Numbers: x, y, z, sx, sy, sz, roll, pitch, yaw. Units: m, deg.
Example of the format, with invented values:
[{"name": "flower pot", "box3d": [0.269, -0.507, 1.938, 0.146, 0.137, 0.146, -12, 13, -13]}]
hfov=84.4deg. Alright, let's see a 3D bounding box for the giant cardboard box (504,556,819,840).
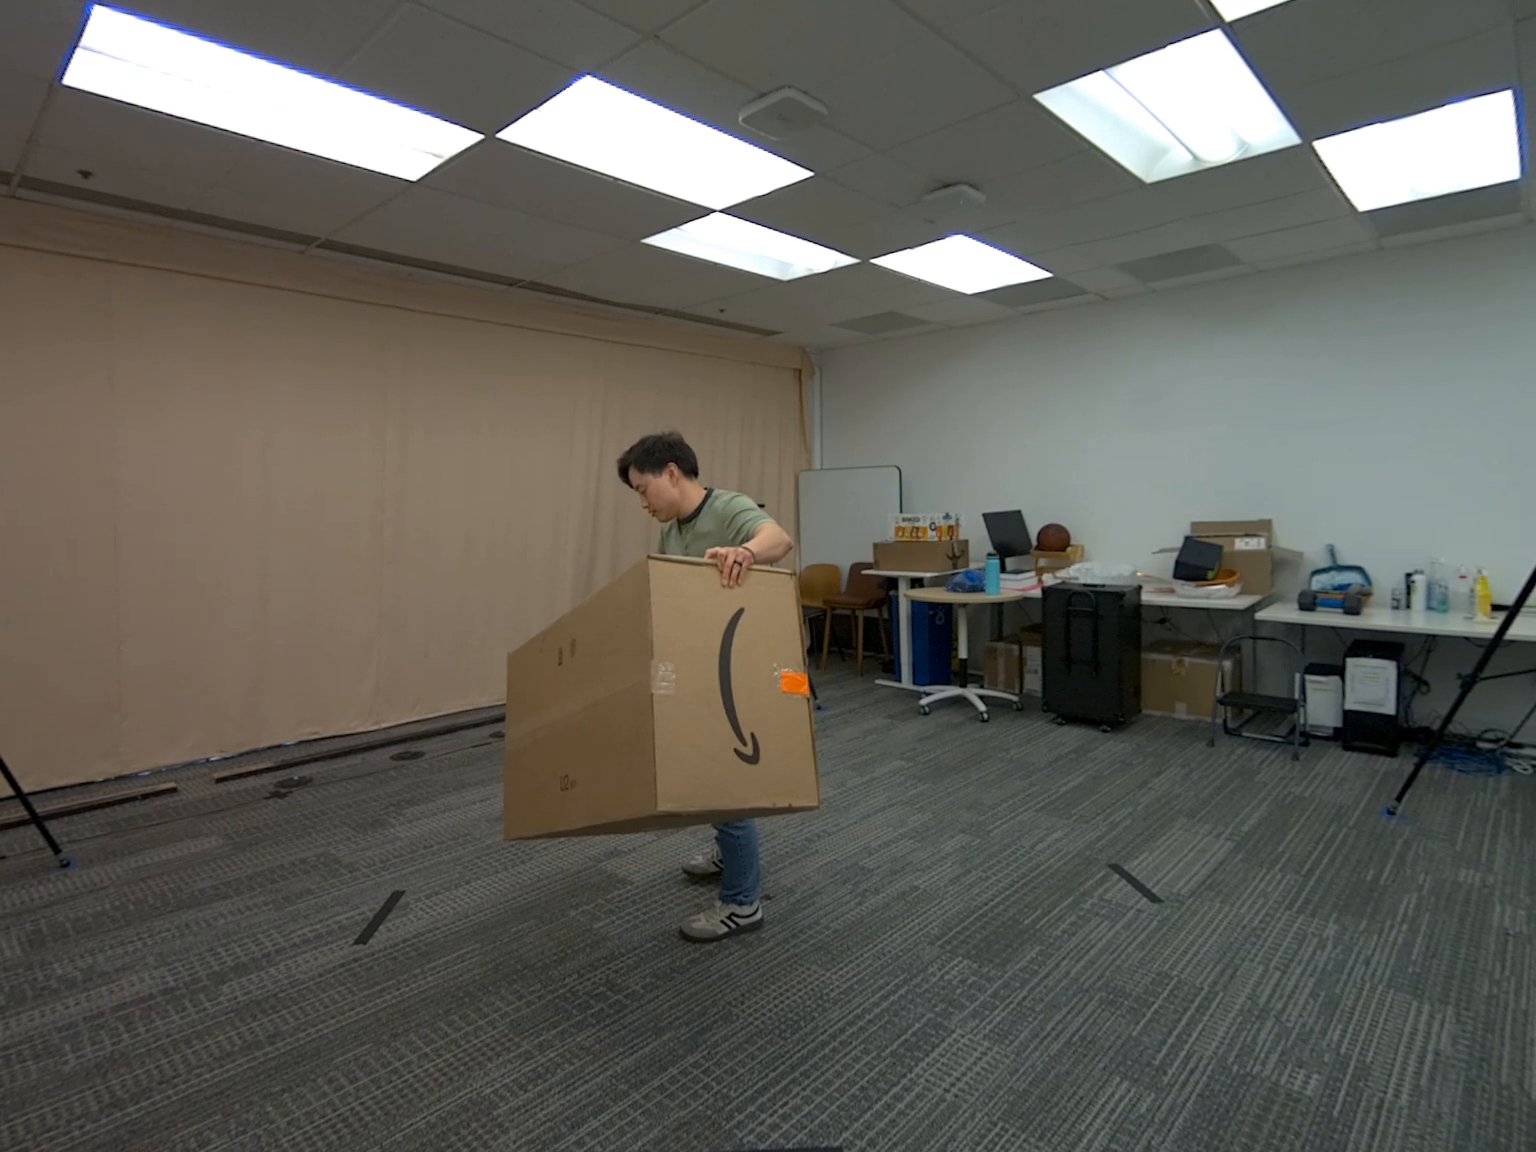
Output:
[{"name": "giant cardboard box", "box3d": [-0.375, 0.407, 2.322, 0.413, 0.585, 1.044, 8, -22, -33]}]
